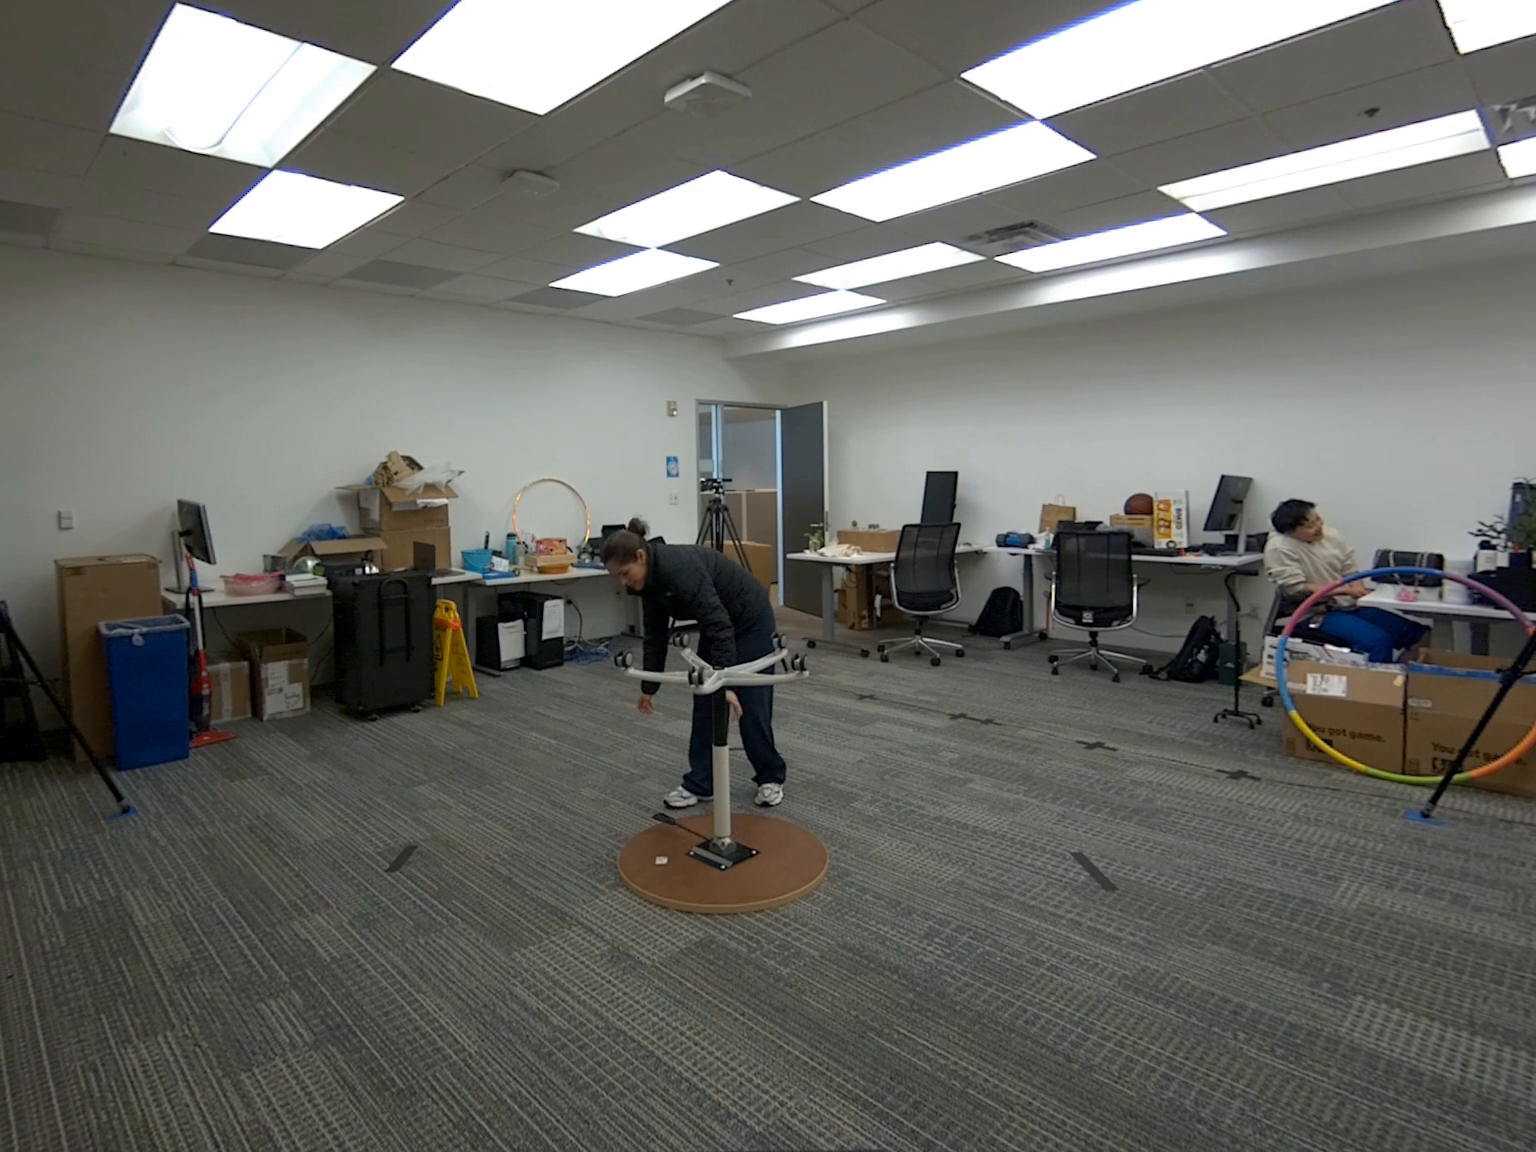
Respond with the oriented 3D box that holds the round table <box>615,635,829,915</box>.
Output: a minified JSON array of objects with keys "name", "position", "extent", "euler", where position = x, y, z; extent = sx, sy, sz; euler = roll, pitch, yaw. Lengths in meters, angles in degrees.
[{"name":"round table","position":[-0.180,0.646,3.119],"extent":[0.784,0.783,0.789],"euler":[-1,5,-2]}]
